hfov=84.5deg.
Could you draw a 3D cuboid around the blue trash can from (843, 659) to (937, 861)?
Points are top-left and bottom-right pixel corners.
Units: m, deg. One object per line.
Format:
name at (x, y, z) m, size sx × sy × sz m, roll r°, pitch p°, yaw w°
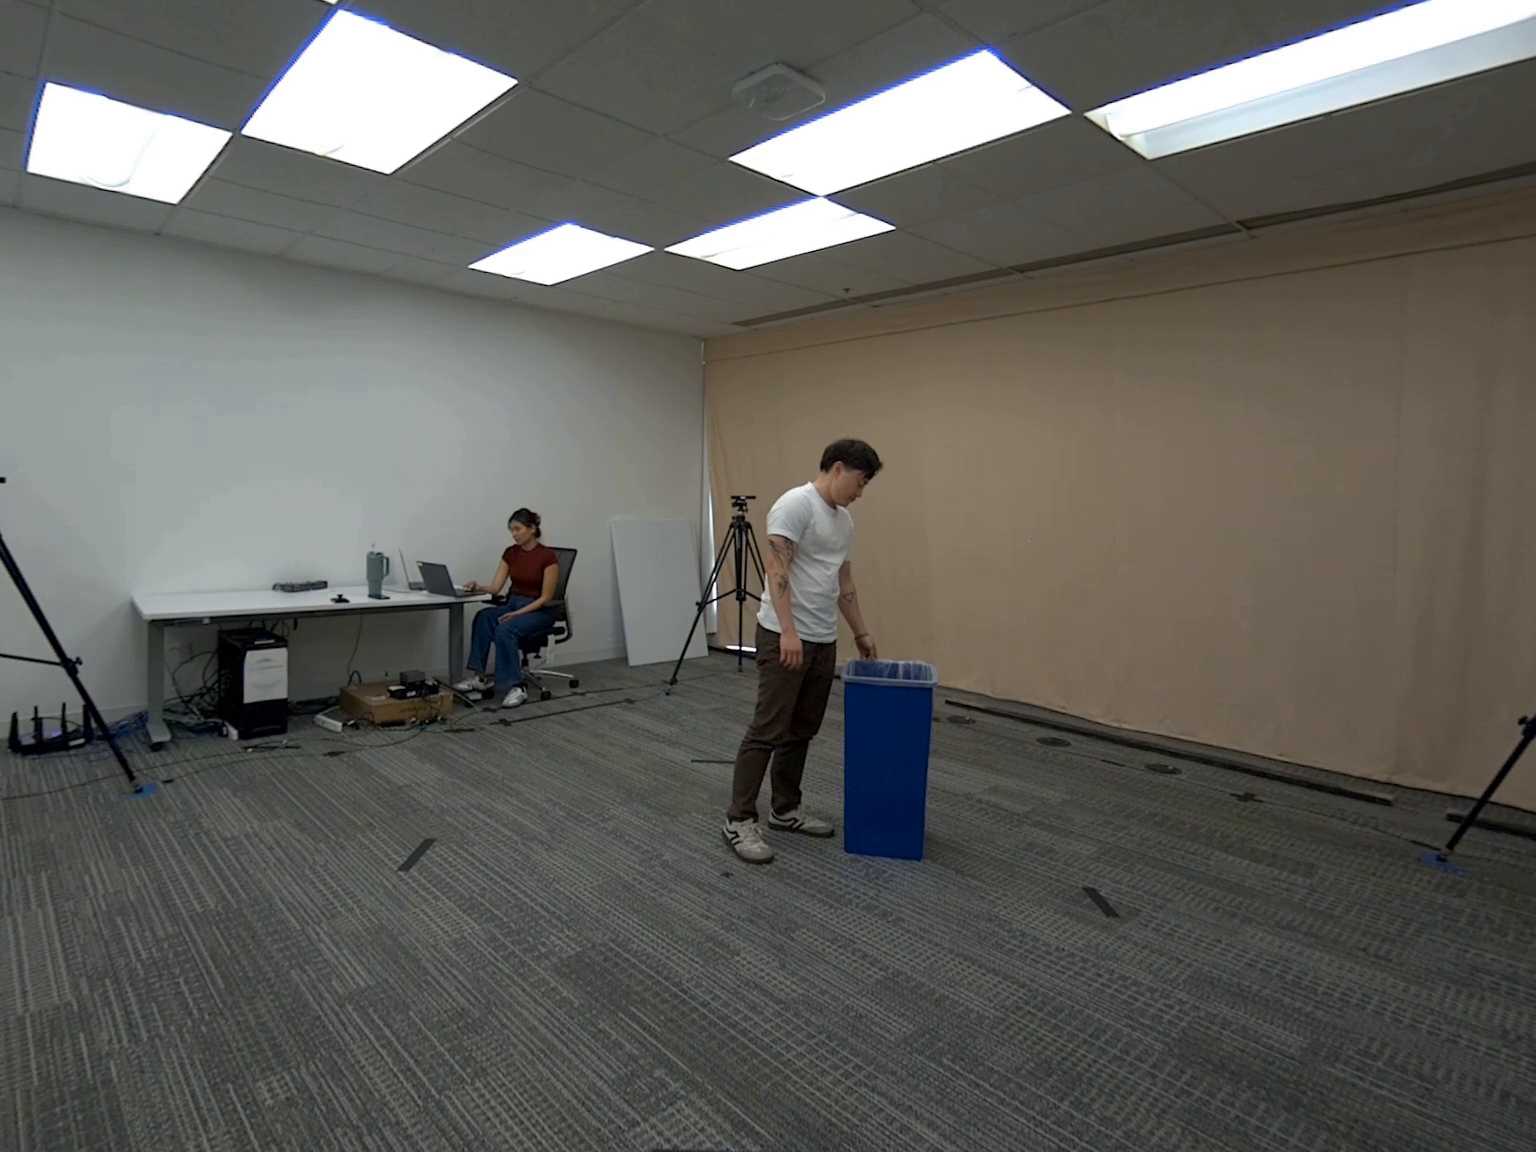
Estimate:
blue trash can at (0.463, 0.730, 3.425) m, size 0.377 × 0.712 × 0.376 m, roll 3°, pitch 4°, yaw 10°
